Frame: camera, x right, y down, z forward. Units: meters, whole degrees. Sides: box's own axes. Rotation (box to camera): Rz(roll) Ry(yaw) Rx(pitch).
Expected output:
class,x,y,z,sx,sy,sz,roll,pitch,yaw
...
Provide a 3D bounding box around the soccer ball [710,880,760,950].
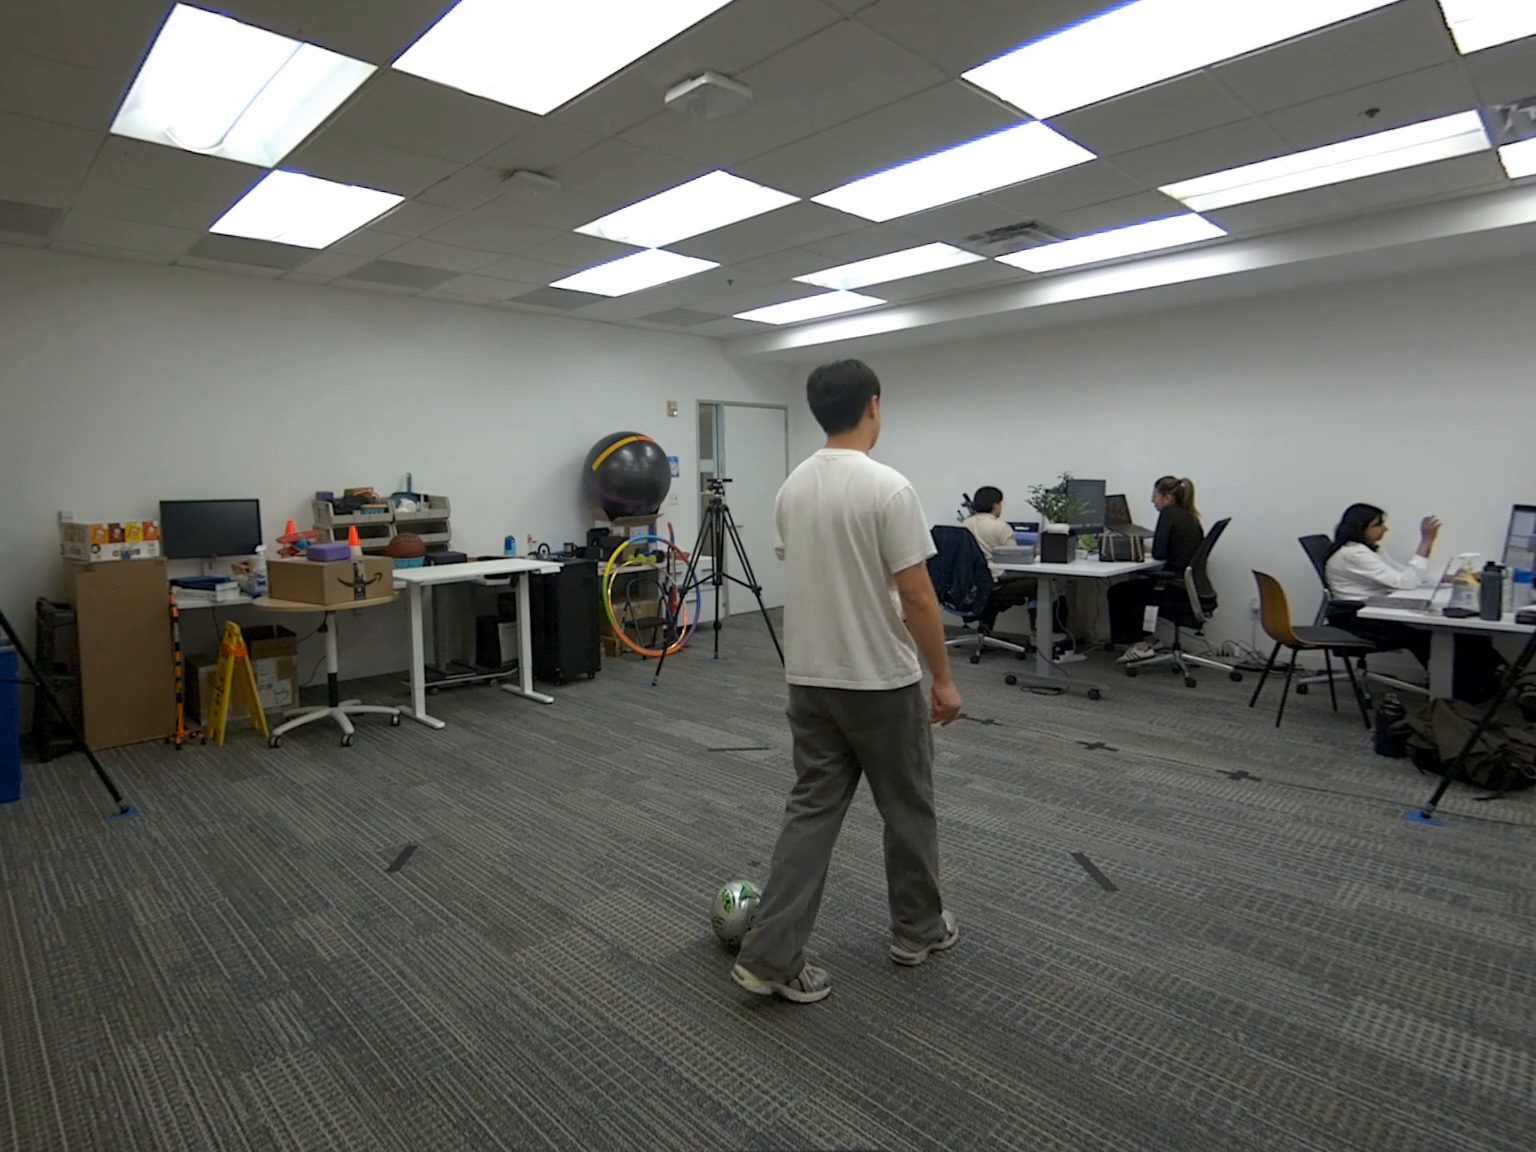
class,x,y,z,sx,sy,sz,roll,pitch,yaw
soccer ball,-0.074,1.019,2.574,0.187,0.187,0.188,-1,5,-2
